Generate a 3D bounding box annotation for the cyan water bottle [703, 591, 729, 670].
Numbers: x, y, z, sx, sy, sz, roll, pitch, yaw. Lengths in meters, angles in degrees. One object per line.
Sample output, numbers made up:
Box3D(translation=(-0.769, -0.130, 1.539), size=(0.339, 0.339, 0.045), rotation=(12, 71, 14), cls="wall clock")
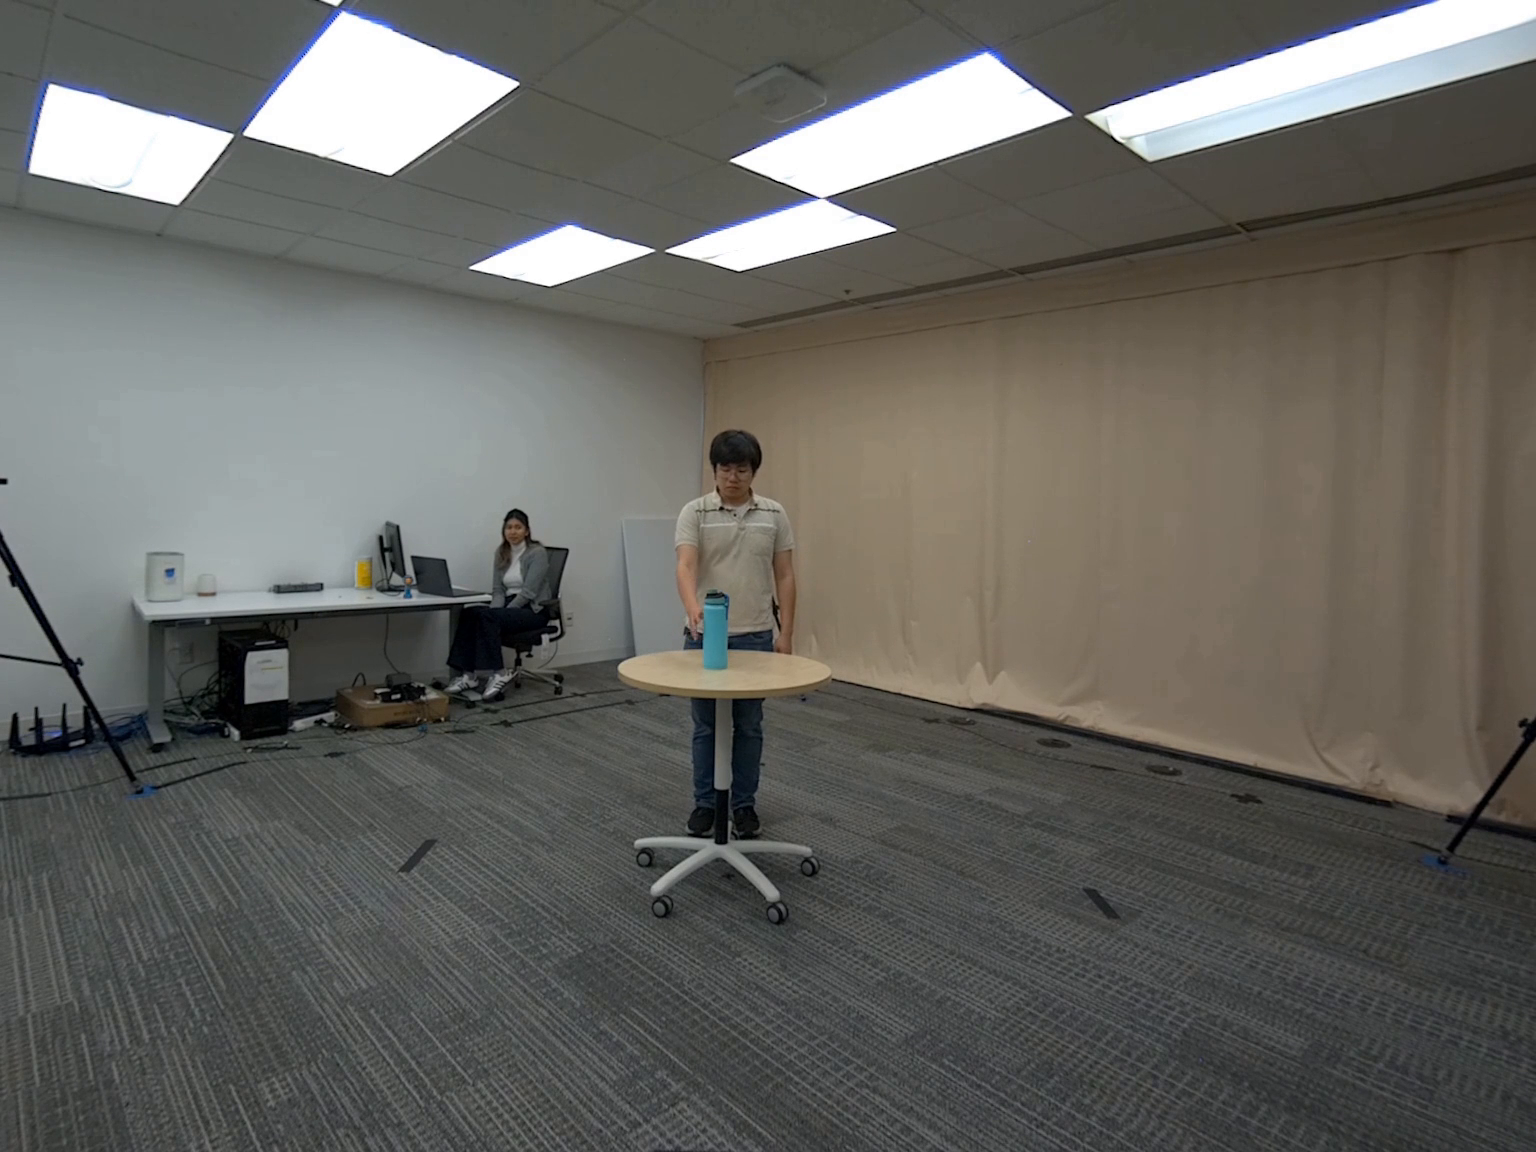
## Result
Box3D(translation=(-0.197, 0.190, 3.023), size=(0.092, 0.283, 0.092), rotation=(3, 2, -1), cls="cyan water bottle")
